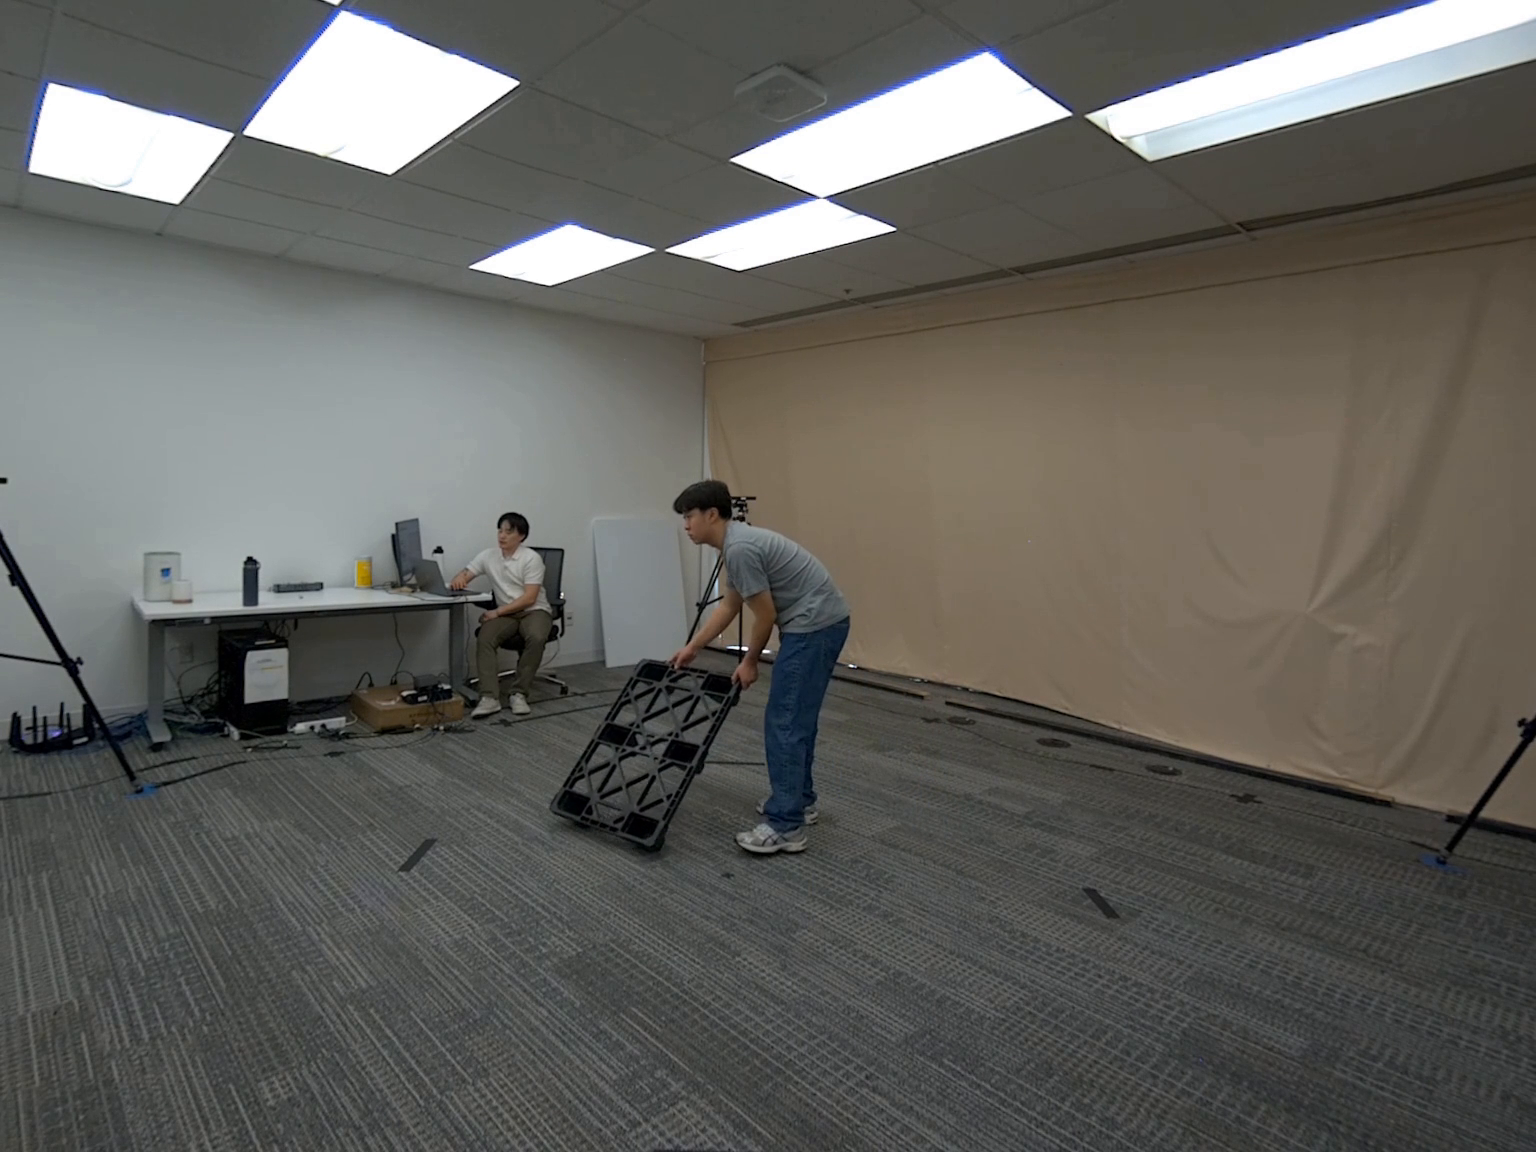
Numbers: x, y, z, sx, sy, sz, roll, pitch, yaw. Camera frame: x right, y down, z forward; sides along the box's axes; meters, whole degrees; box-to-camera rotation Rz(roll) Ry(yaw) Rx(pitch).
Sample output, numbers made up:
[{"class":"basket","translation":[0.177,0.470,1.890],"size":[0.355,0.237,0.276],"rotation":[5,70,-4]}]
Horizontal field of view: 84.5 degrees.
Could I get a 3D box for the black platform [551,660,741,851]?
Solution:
[{"class":"black platform","translation":[-0.496,0.746,3.599],"size":[0.620,0.810,0.139],"rotation":[5,-39,35]}]
